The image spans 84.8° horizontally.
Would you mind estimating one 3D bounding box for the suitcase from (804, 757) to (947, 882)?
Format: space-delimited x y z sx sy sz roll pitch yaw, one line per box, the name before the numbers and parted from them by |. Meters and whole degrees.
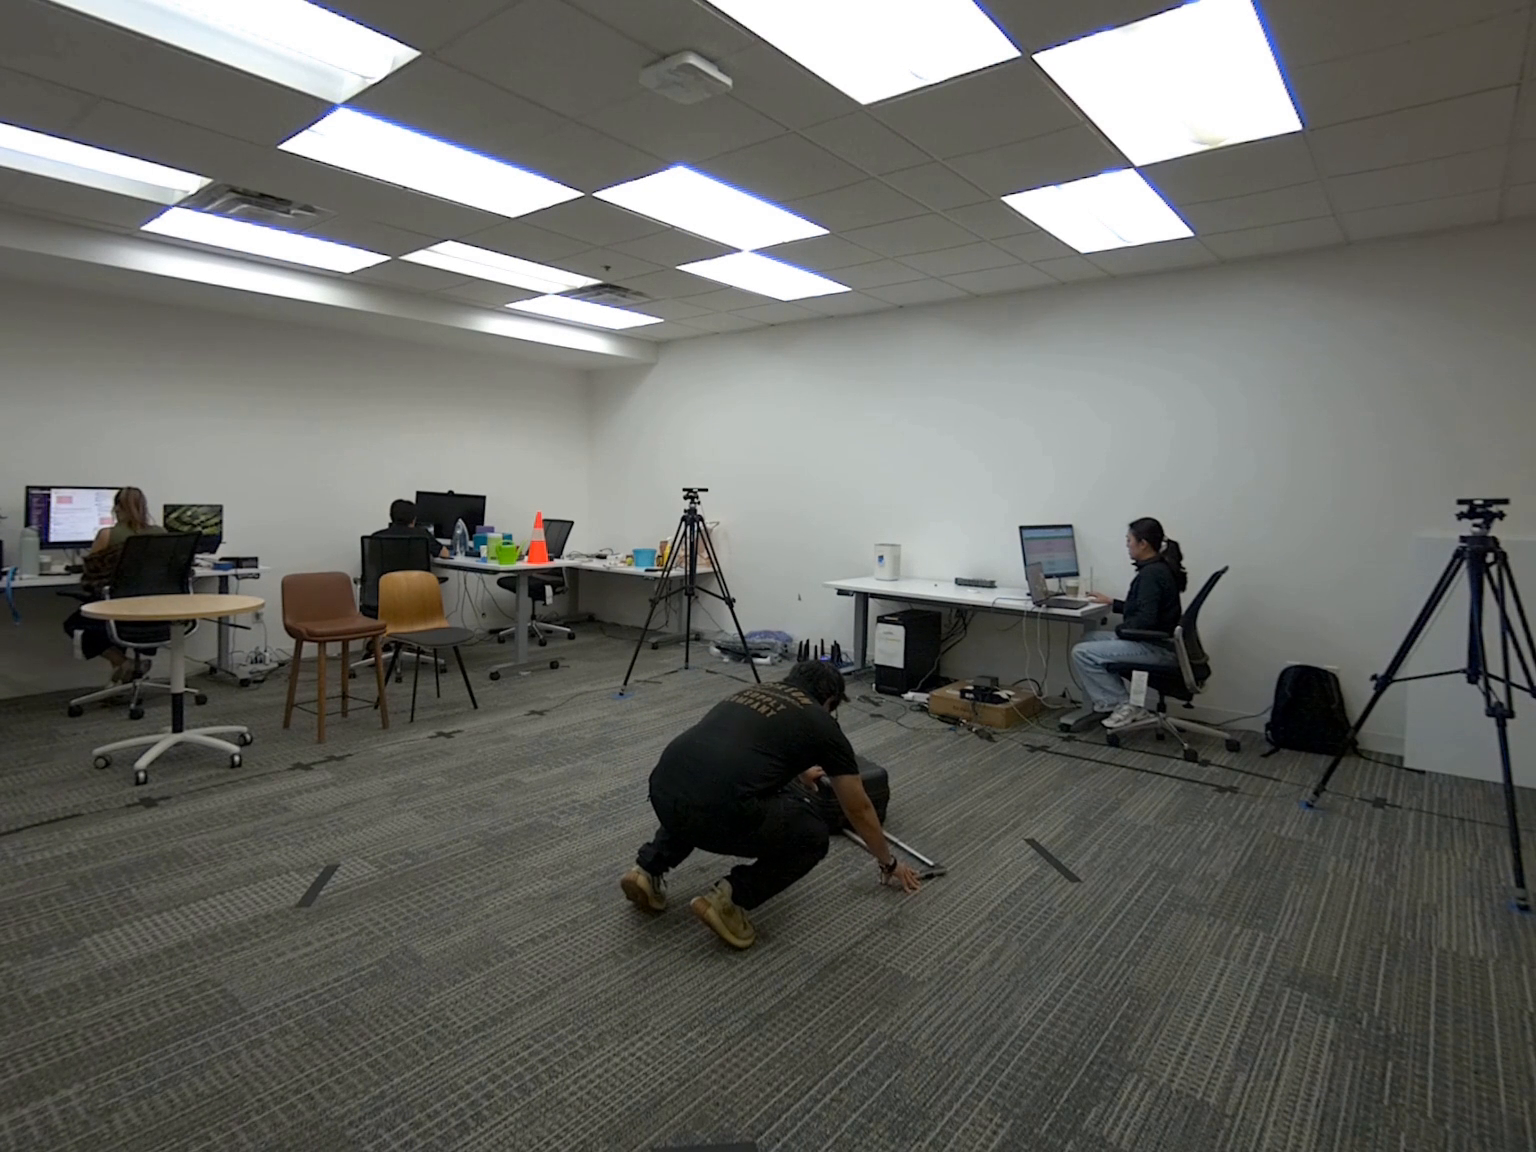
suitcase | 0.341 0.913 3.521 0.374 0.256 1.006 -1 4 -28
